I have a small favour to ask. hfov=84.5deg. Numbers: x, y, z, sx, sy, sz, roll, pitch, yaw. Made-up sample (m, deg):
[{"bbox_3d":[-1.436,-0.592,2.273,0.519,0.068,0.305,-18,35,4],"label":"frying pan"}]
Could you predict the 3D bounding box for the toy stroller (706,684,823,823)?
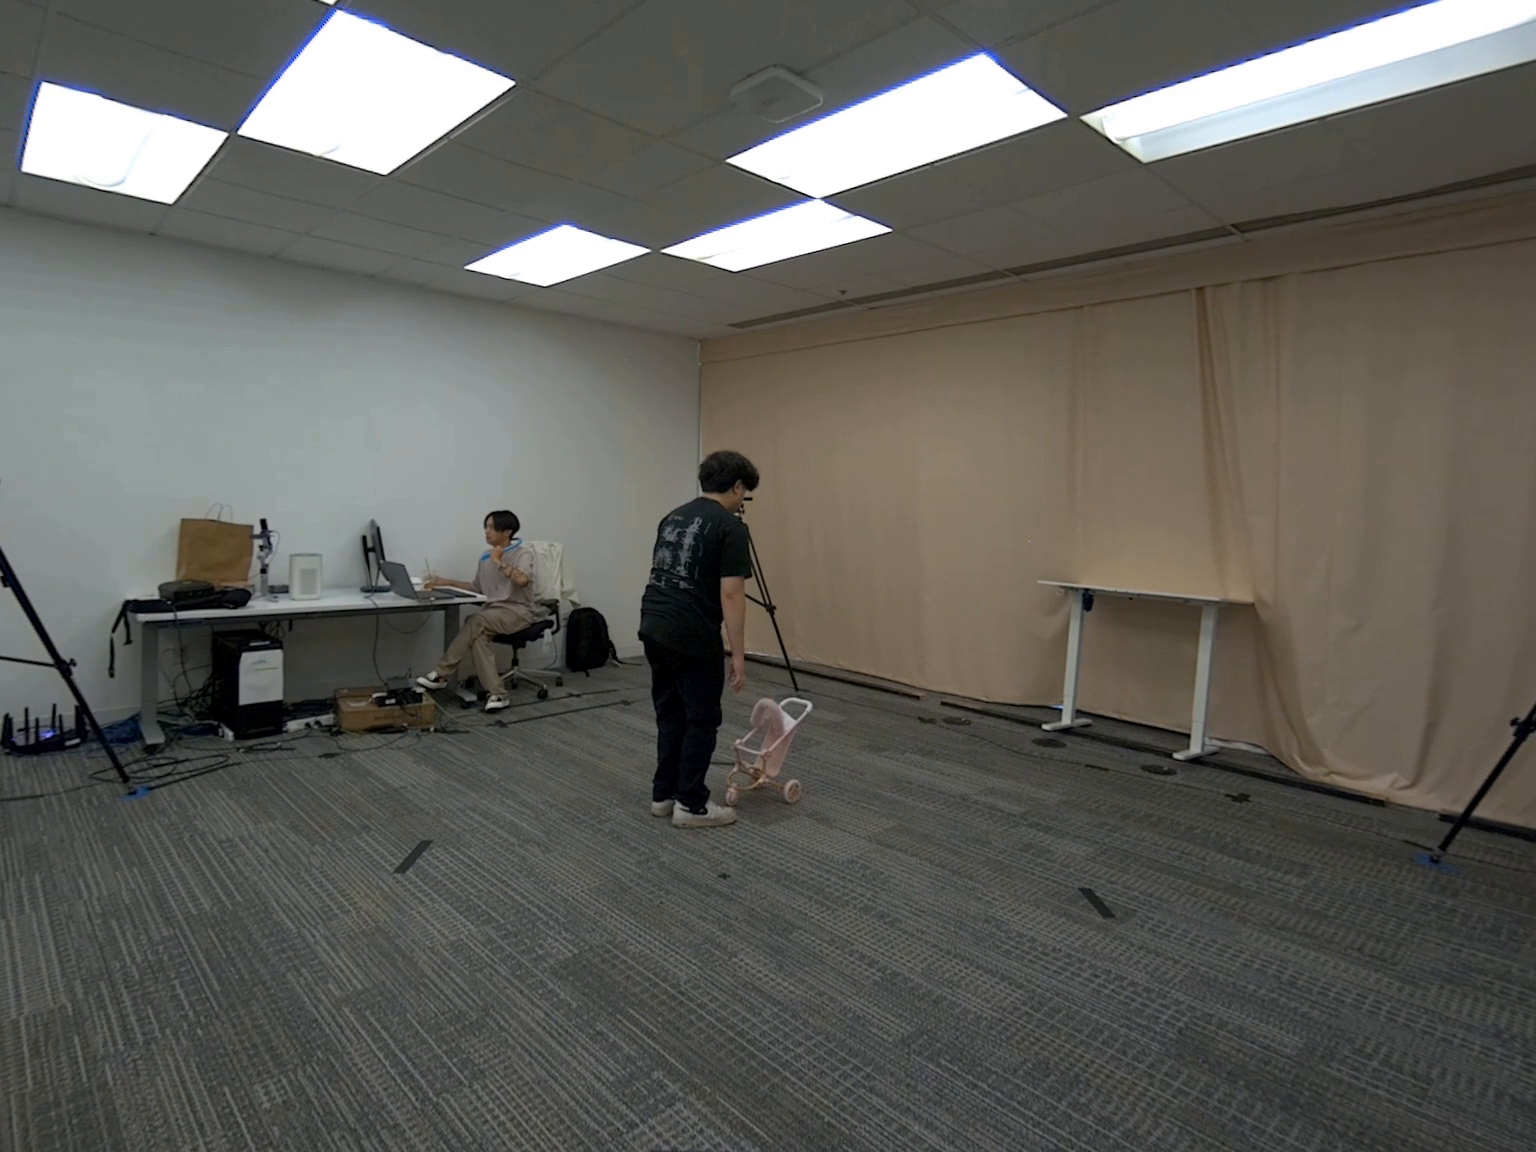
[{"bbox_3d":[-0.026,0.821,3.942,0.332,0.536,0.288,18,-7,-35],"label":"toy stroller"}]
